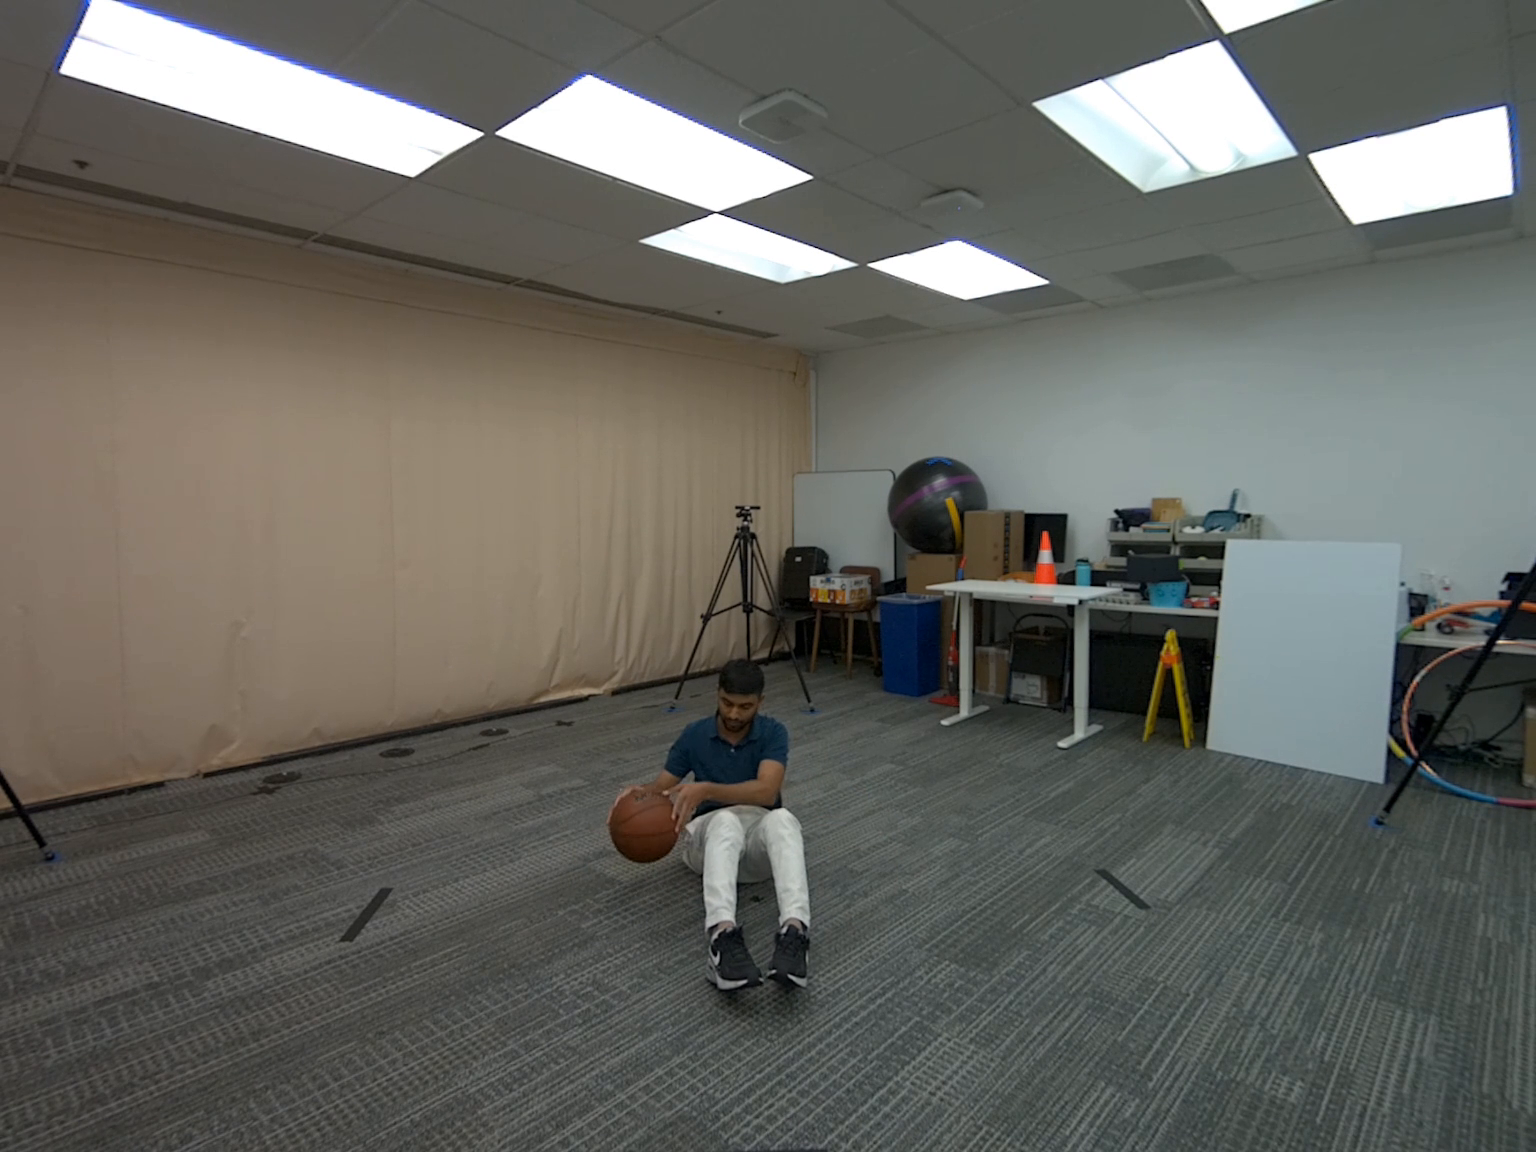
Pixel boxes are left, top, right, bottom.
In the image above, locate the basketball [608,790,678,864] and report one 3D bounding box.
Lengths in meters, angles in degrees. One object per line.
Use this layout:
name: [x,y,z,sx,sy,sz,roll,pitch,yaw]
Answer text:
basketball: [-0.415,0.837,2.867,0.236,0.235,0.237,0,4,-2]
